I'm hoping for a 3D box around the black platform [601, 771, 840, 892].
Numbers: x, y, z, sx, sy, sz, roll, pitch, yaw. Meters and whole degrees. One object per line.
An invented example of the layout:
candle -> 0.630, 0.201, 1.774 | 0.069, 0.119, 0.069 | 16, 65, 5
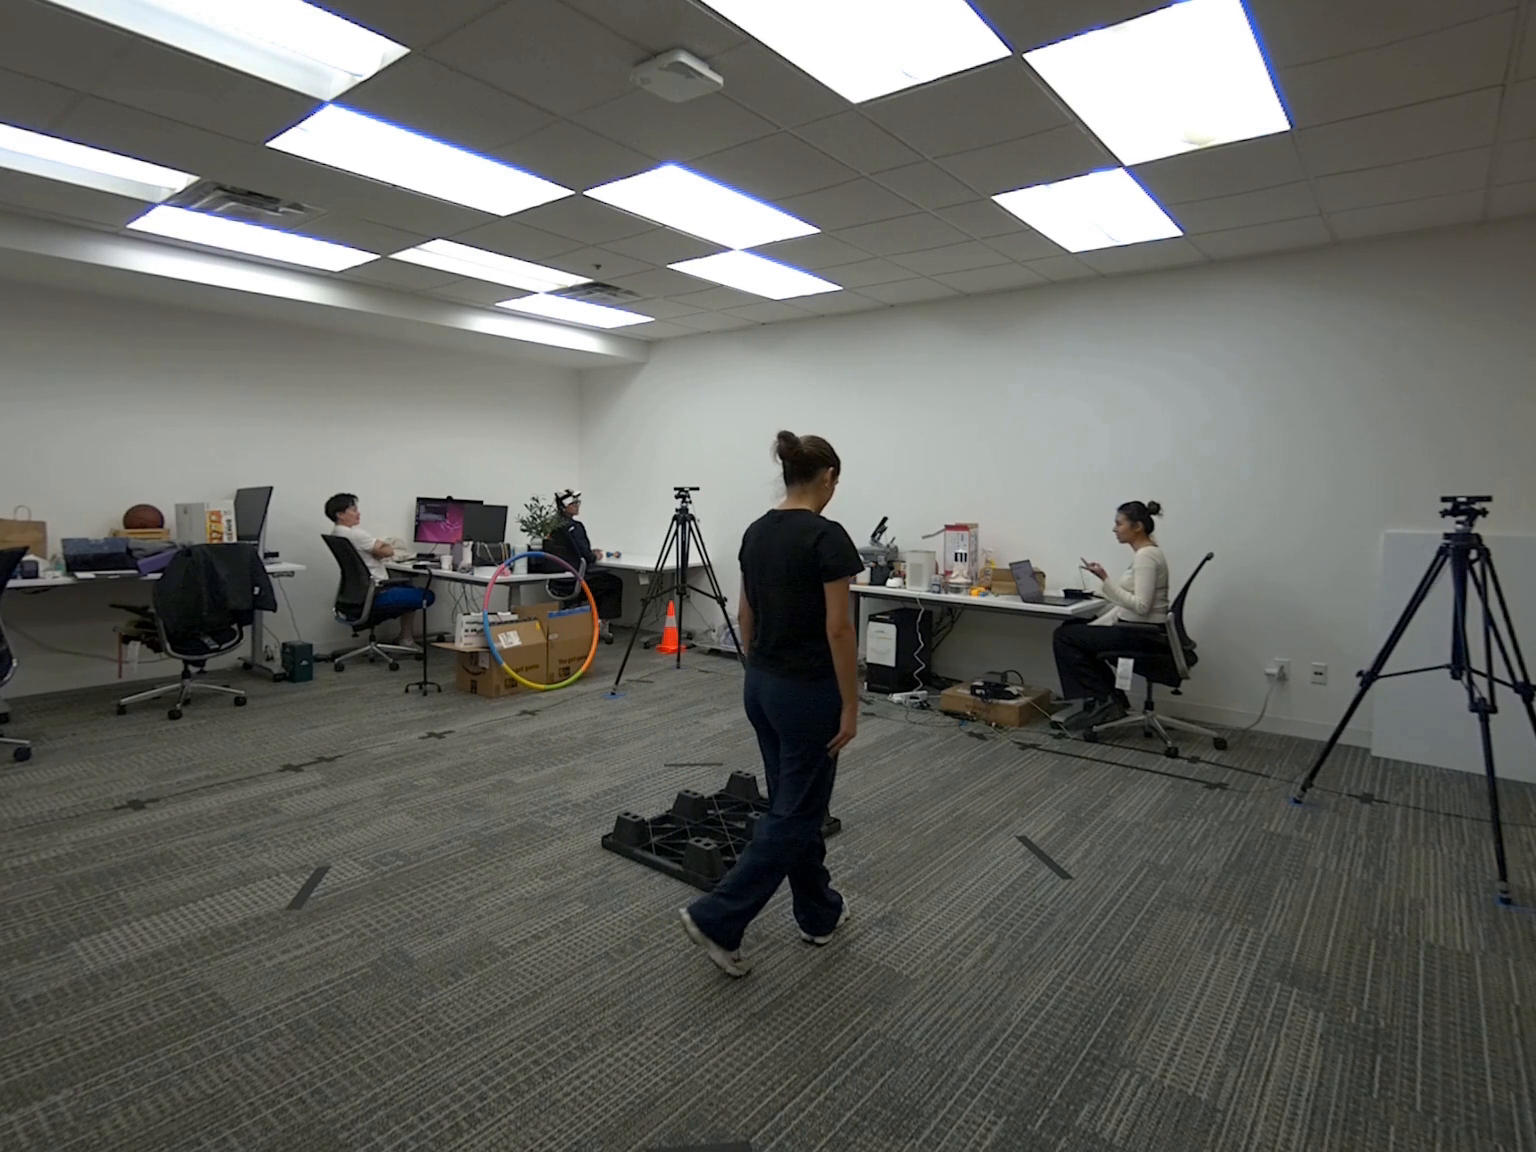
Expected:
black platform -> -0.157, 0.973, 3.403 | 0.626, 0.143, 0.782 | 6, 7, 39
